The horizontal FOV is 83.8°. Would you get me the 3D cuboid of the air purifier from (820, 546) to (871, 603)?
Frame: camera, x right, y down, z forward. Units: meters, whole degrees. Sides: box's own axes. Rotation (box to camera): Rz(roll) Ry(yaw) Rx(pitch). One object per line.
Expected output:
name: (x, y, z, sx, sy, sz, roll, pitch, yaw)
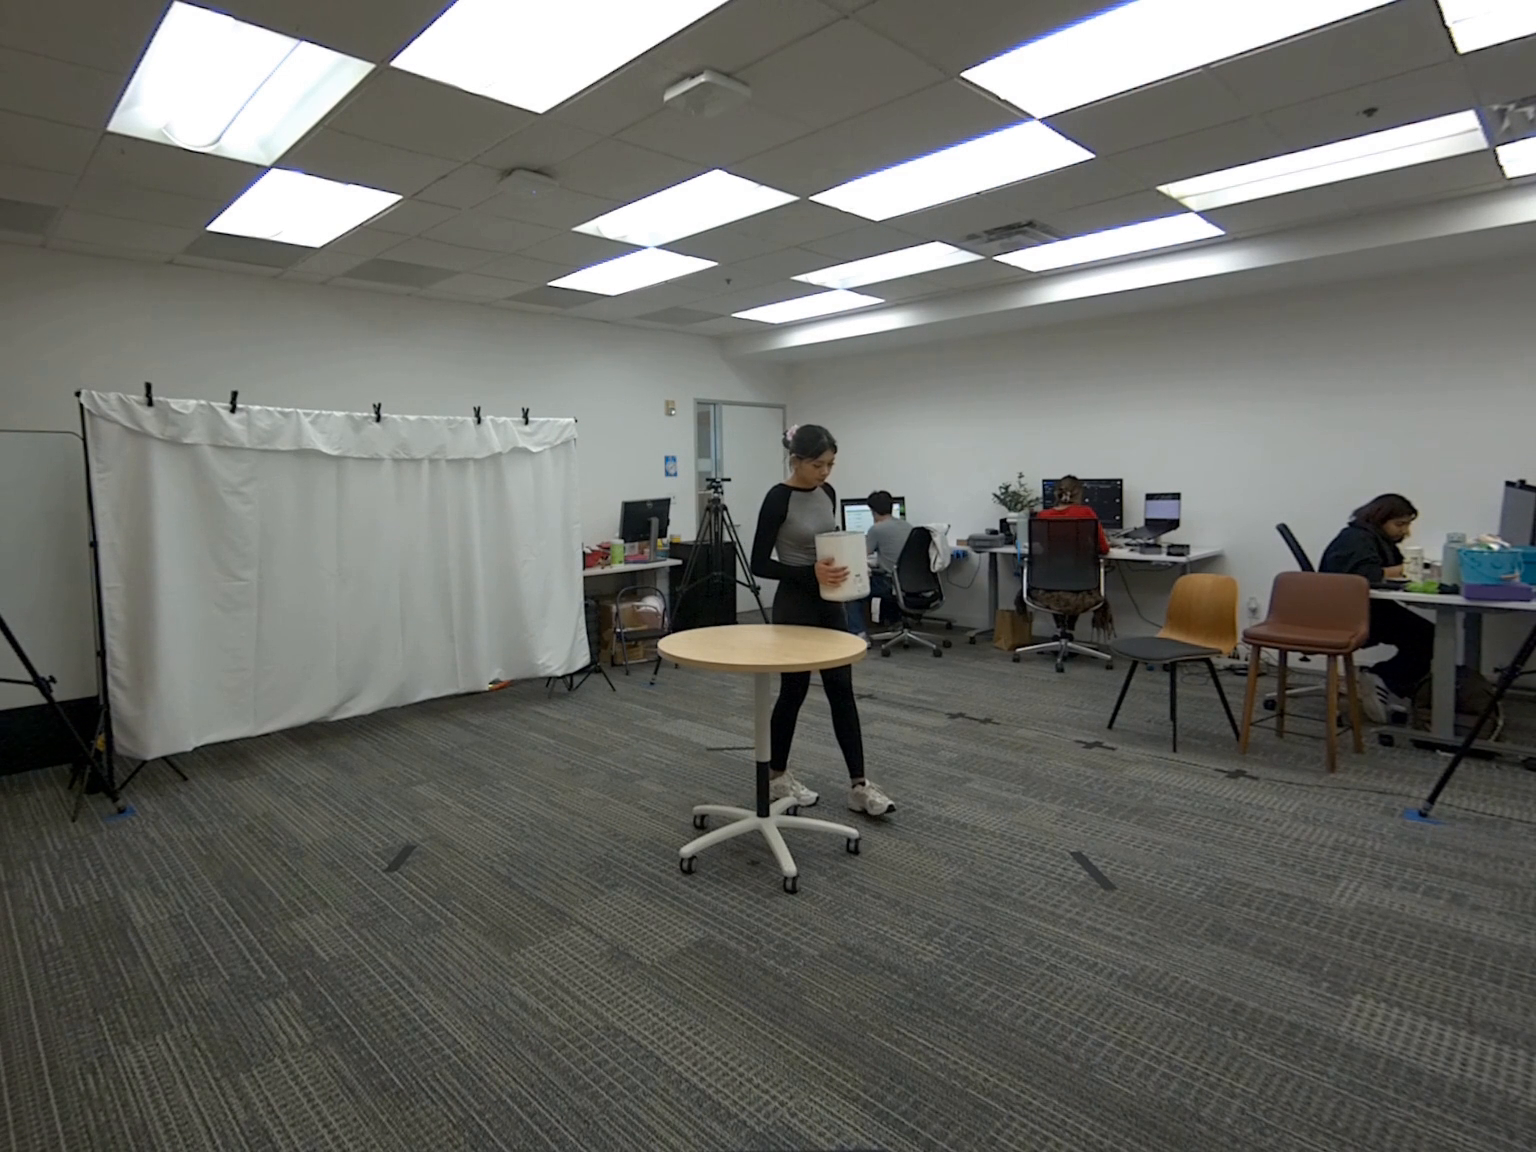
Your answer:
air purifier: (0.294, -0.040, 3.431, 0.168, 0.264, 0.175, -9, 5, -32)
